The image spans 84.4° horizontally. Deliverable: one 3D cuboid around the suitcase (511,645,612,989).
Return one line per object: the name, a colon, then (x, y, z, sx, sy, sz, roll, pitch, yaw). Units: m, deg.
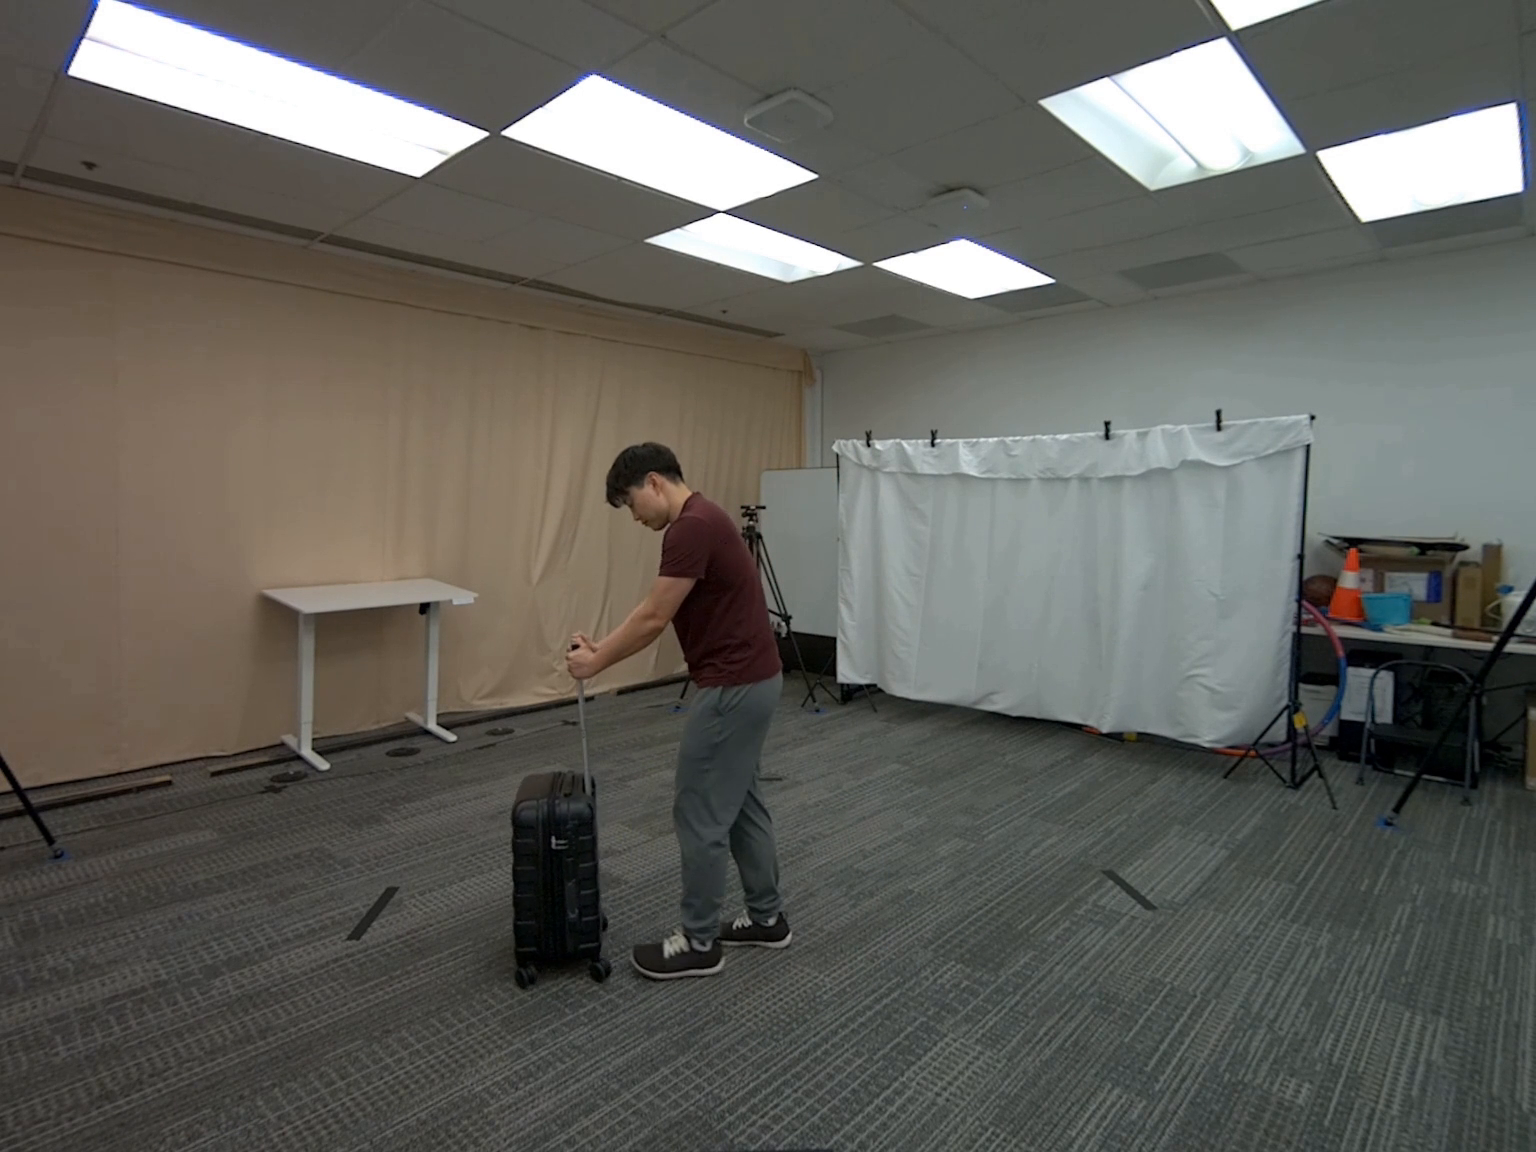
suitcase: (-0.658, 0.708, 2.608, 0.255, 0.978, 0.387, -3, 1, -7)
